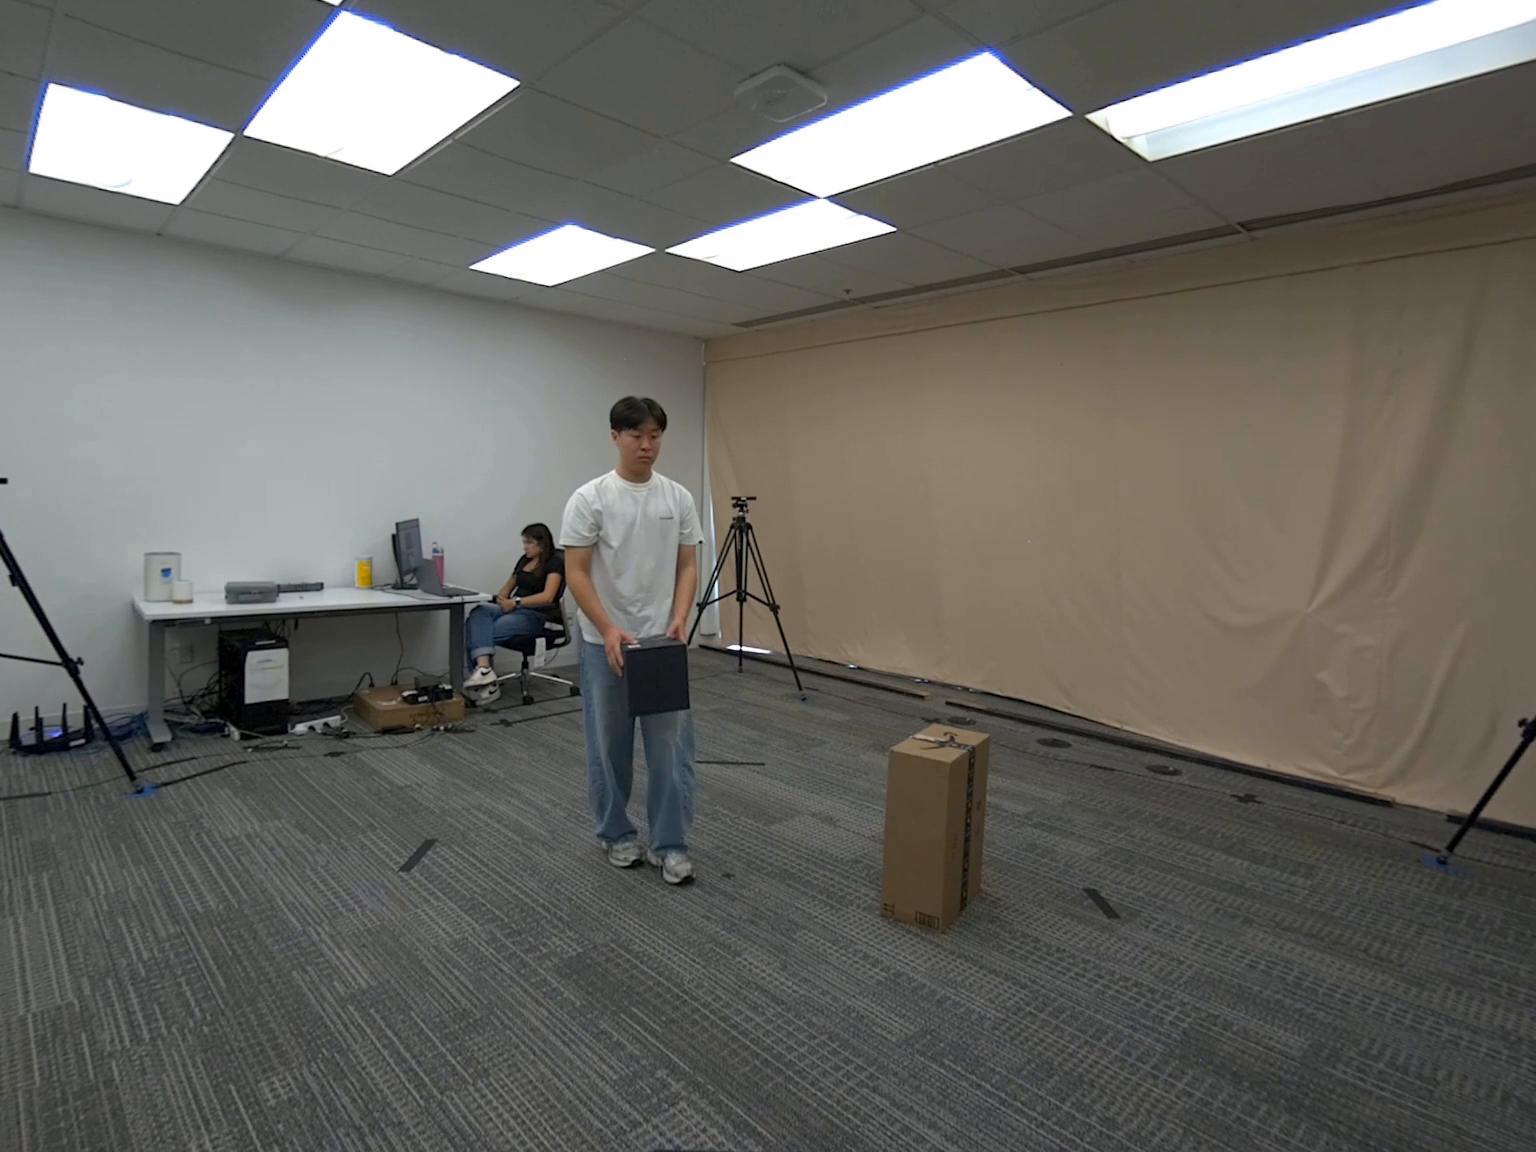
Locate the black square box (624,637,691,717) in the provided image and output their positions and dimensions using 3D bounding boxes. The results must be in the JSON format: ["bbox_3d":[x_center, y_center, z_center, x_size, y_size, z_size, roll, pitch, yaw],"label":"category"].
[{"bbox_3d":[-0.401,0.345,2.895,0.214,0.227,0.159,-5,7,-21],"label":"black square box"}]
